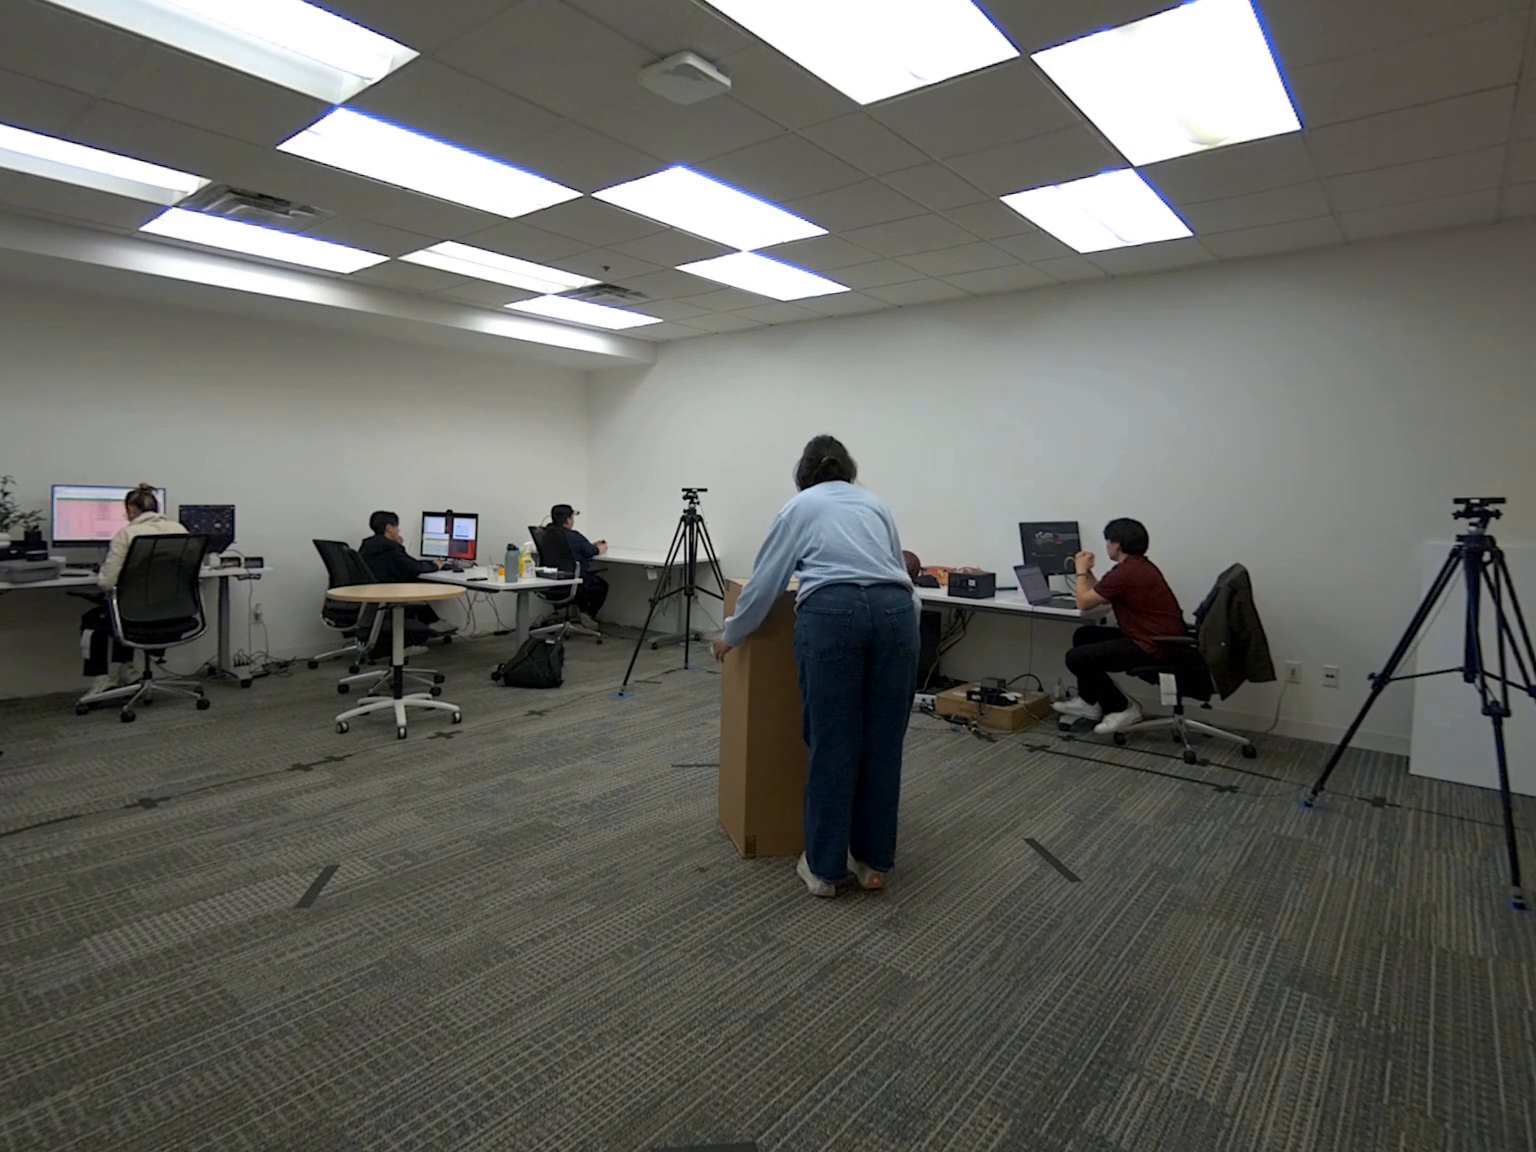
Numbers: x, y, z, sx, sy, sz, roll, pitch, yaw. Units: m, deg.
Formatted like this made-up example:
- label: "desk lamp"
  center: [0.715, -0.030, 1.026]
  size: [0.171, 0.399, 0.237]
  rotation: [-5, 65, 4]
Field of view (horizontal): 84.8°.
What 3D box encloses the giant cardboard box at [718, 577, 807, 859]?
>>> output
- label: "giant cardboard box"
  center: [0.125, 0.536, 3.454]
  size: [0.575, 1.024, 0.455]
  rotation: [1, 3, -14]
